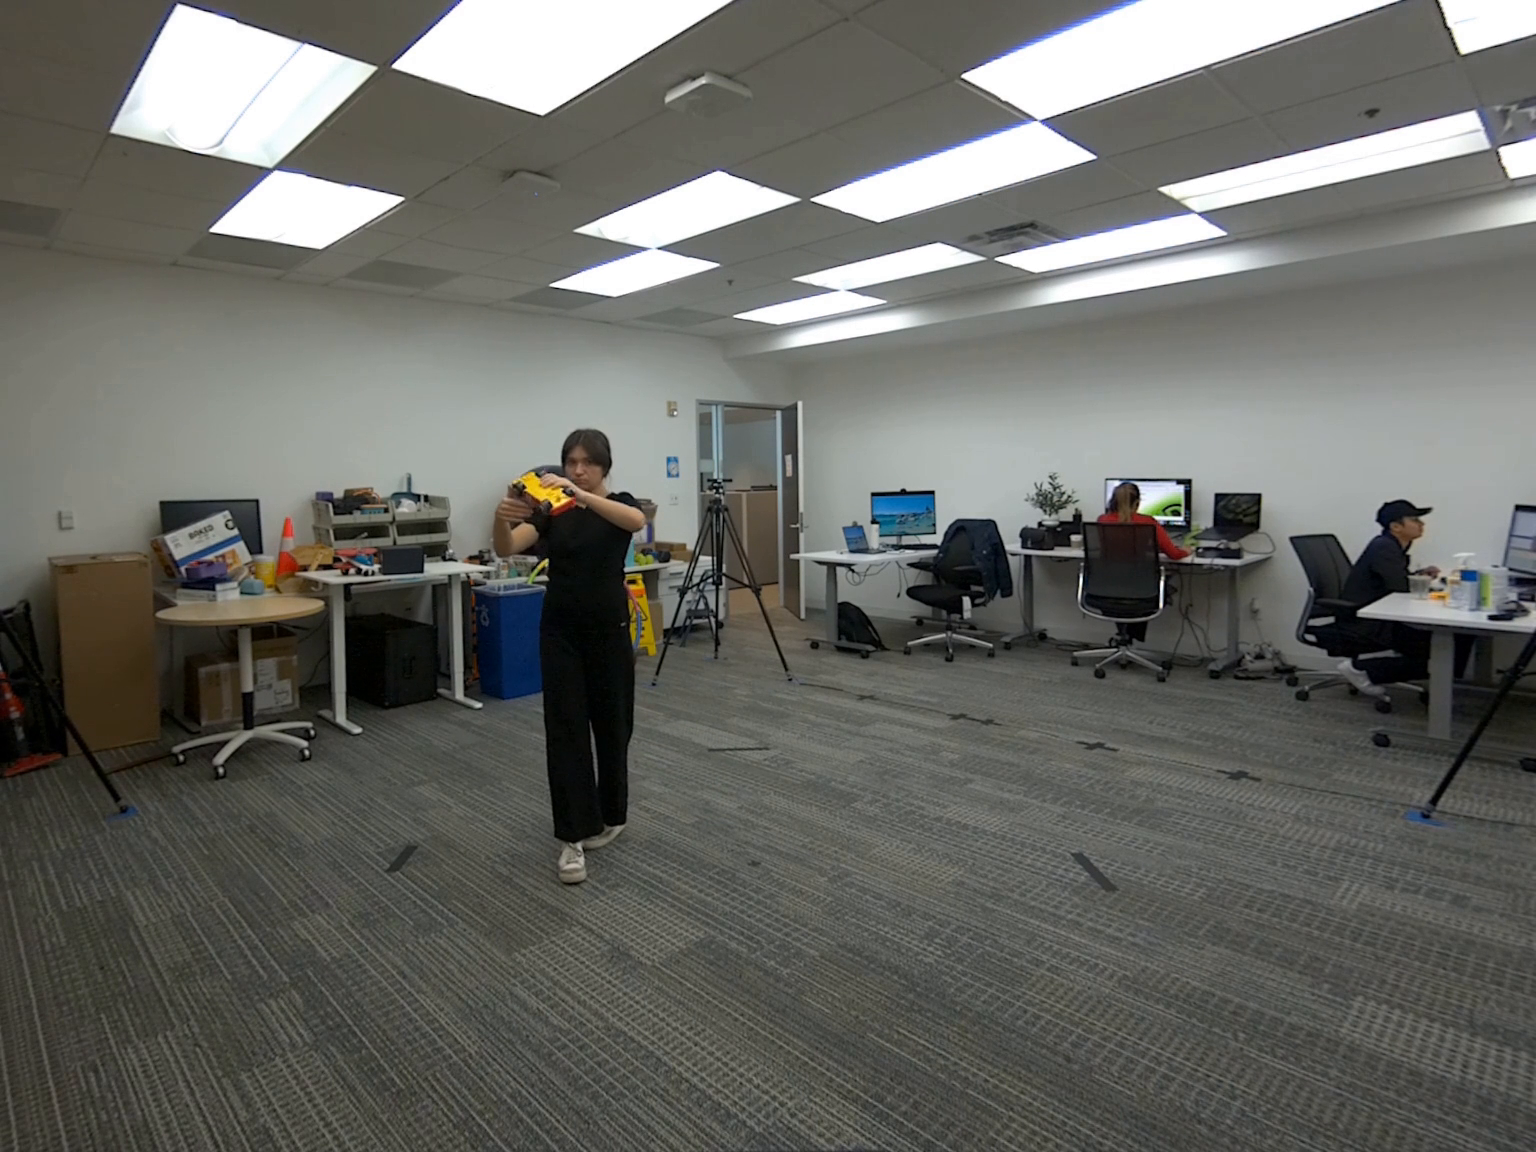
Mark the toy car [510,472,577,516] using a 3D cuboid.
[{"bbox_3d":[-0.733,-0.272,2.754,0.264,0.081,0.129,21,43,40],"label":"toy car"}]
